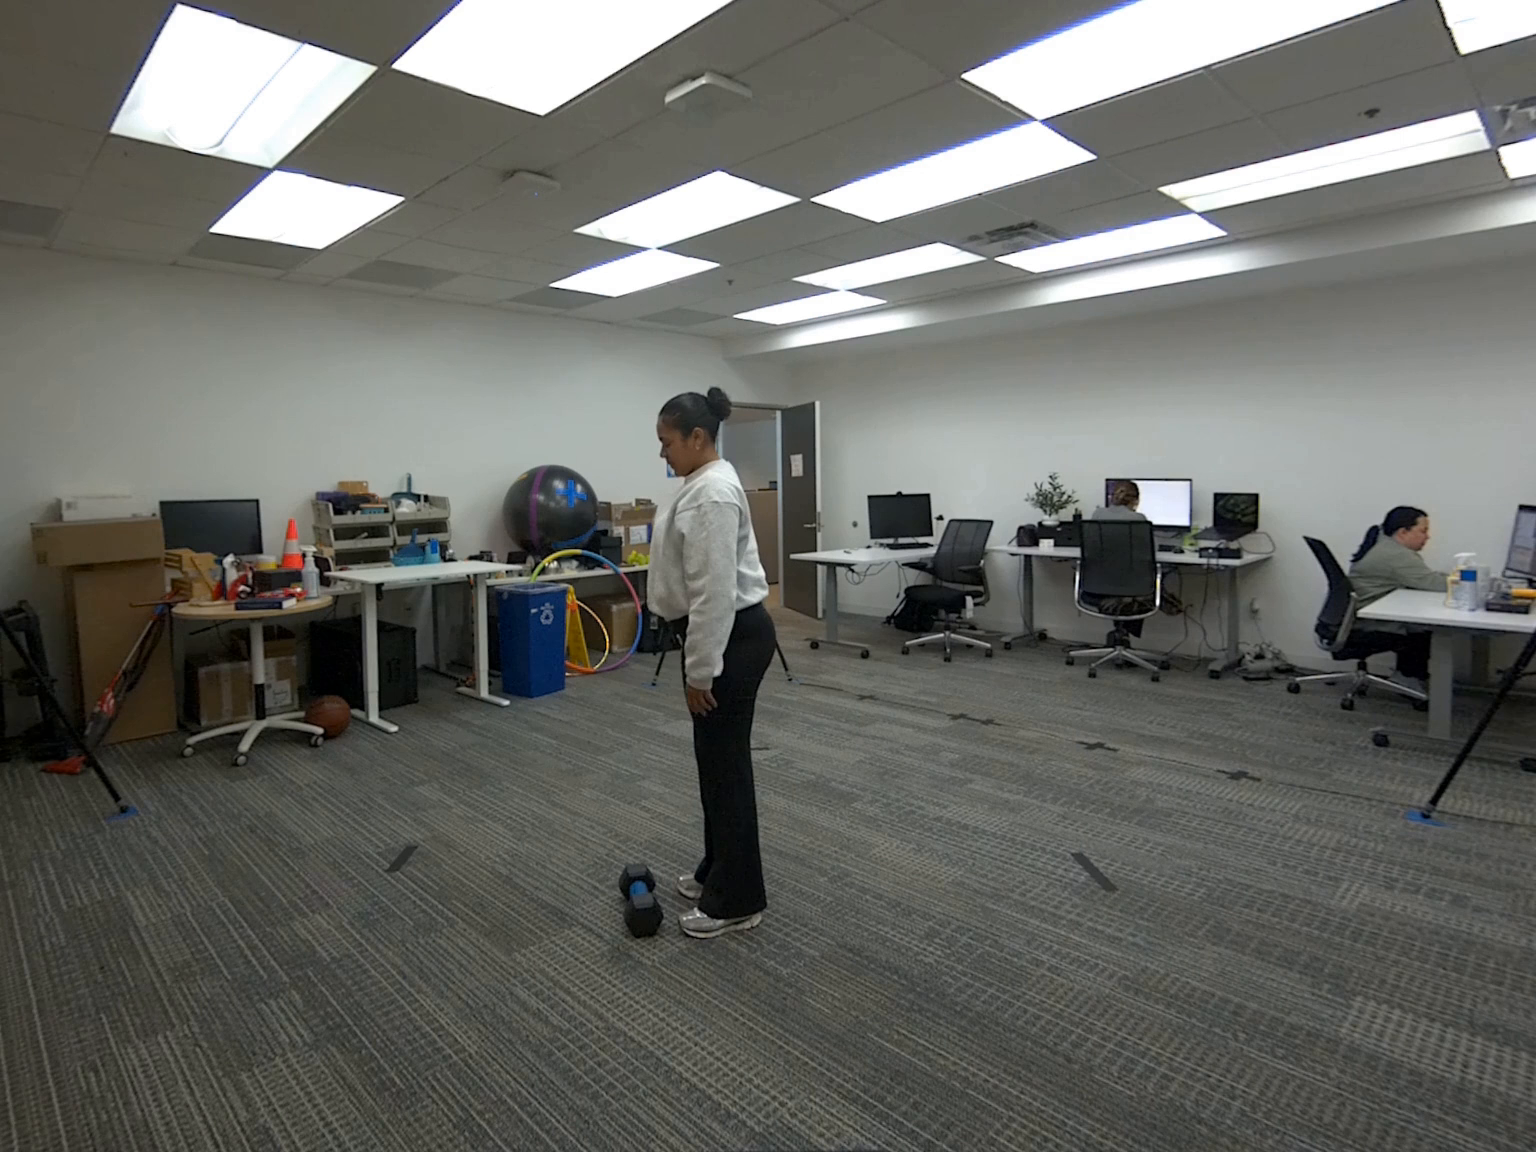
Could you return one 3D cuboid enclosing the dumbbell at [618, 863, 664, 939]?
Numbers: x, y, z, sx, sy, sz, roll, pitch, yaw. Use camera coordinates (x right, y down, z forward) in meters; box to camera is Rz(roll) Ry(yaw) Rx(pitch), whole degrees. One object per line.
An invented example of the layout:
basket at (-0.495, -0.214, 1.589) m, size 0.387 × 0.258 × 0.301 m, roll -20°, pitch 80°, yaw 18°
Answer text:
dumbbell at (-0.404, 1.038, 2.748) m, size 0.122 × 0.108 × 0.298 m, roll -4°, pitch 7°, yaw -12°
